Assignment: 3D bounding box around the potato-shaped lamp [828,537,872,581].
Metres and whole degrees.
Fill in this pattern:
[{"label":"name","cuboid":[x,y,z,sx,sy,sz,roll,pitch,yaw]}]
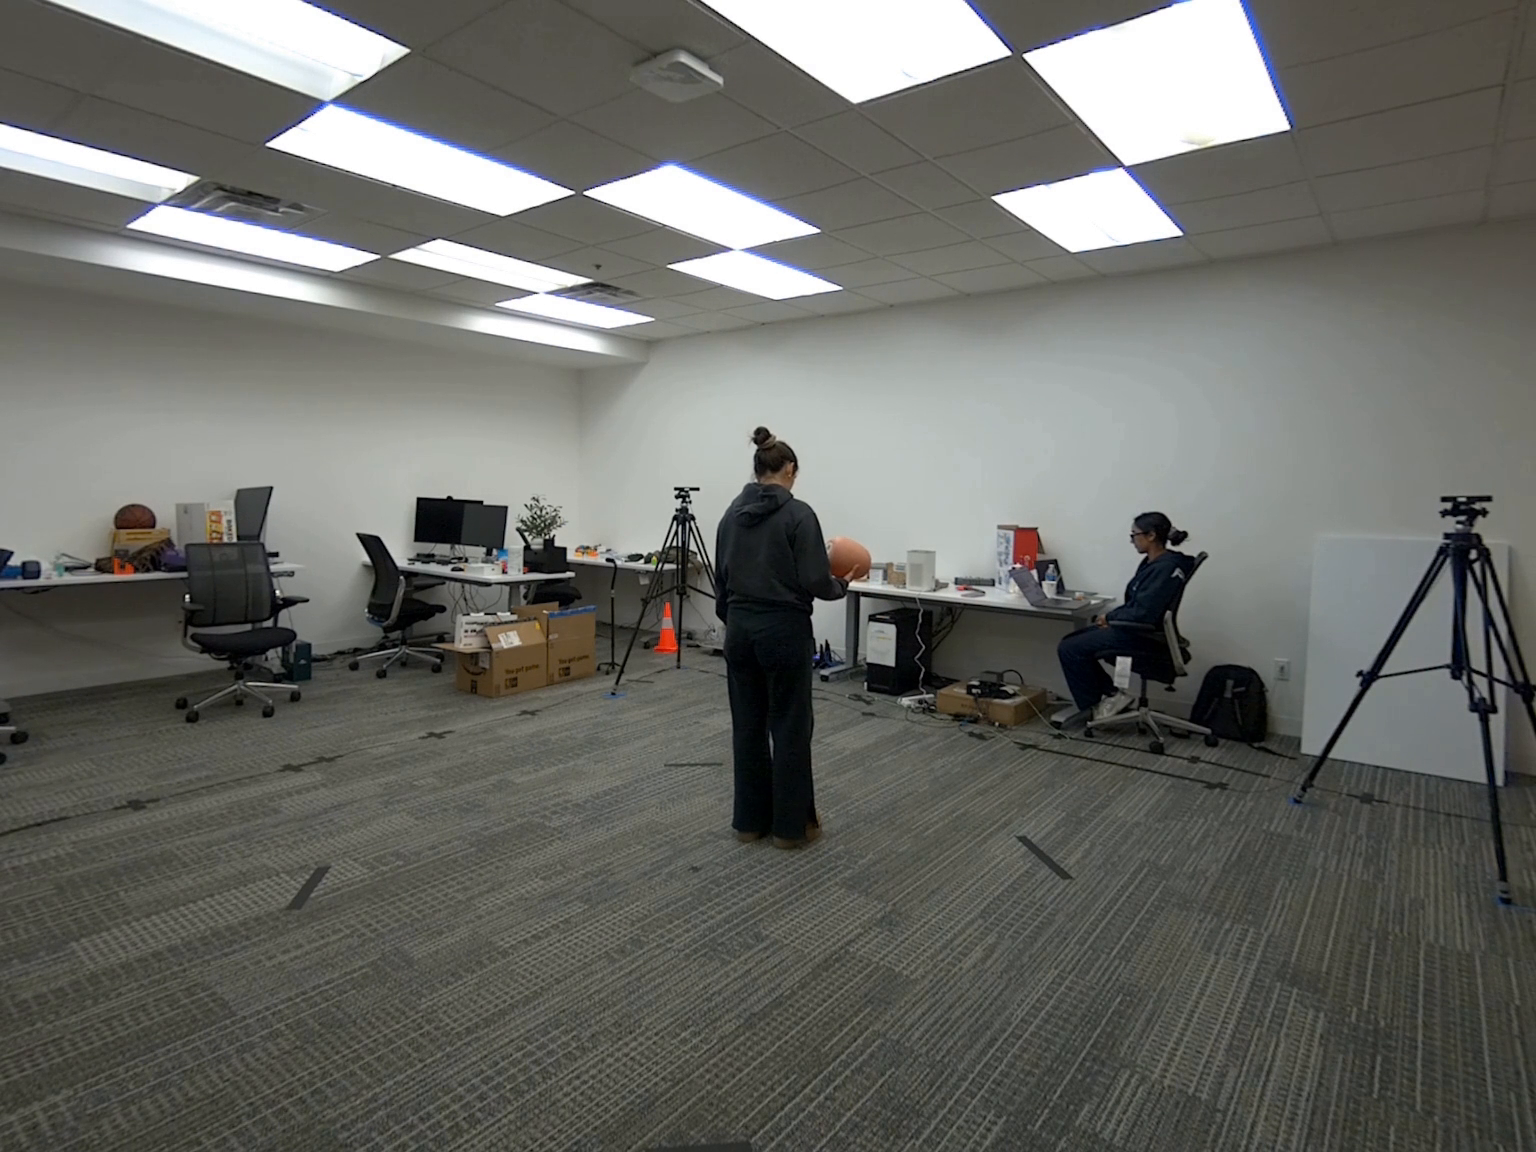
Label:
[{"label":"potato-shaped lamp","cuboid":[0.323,-0.070,3.505,0.194,0.168,0.171,23,-42,-16]}]
